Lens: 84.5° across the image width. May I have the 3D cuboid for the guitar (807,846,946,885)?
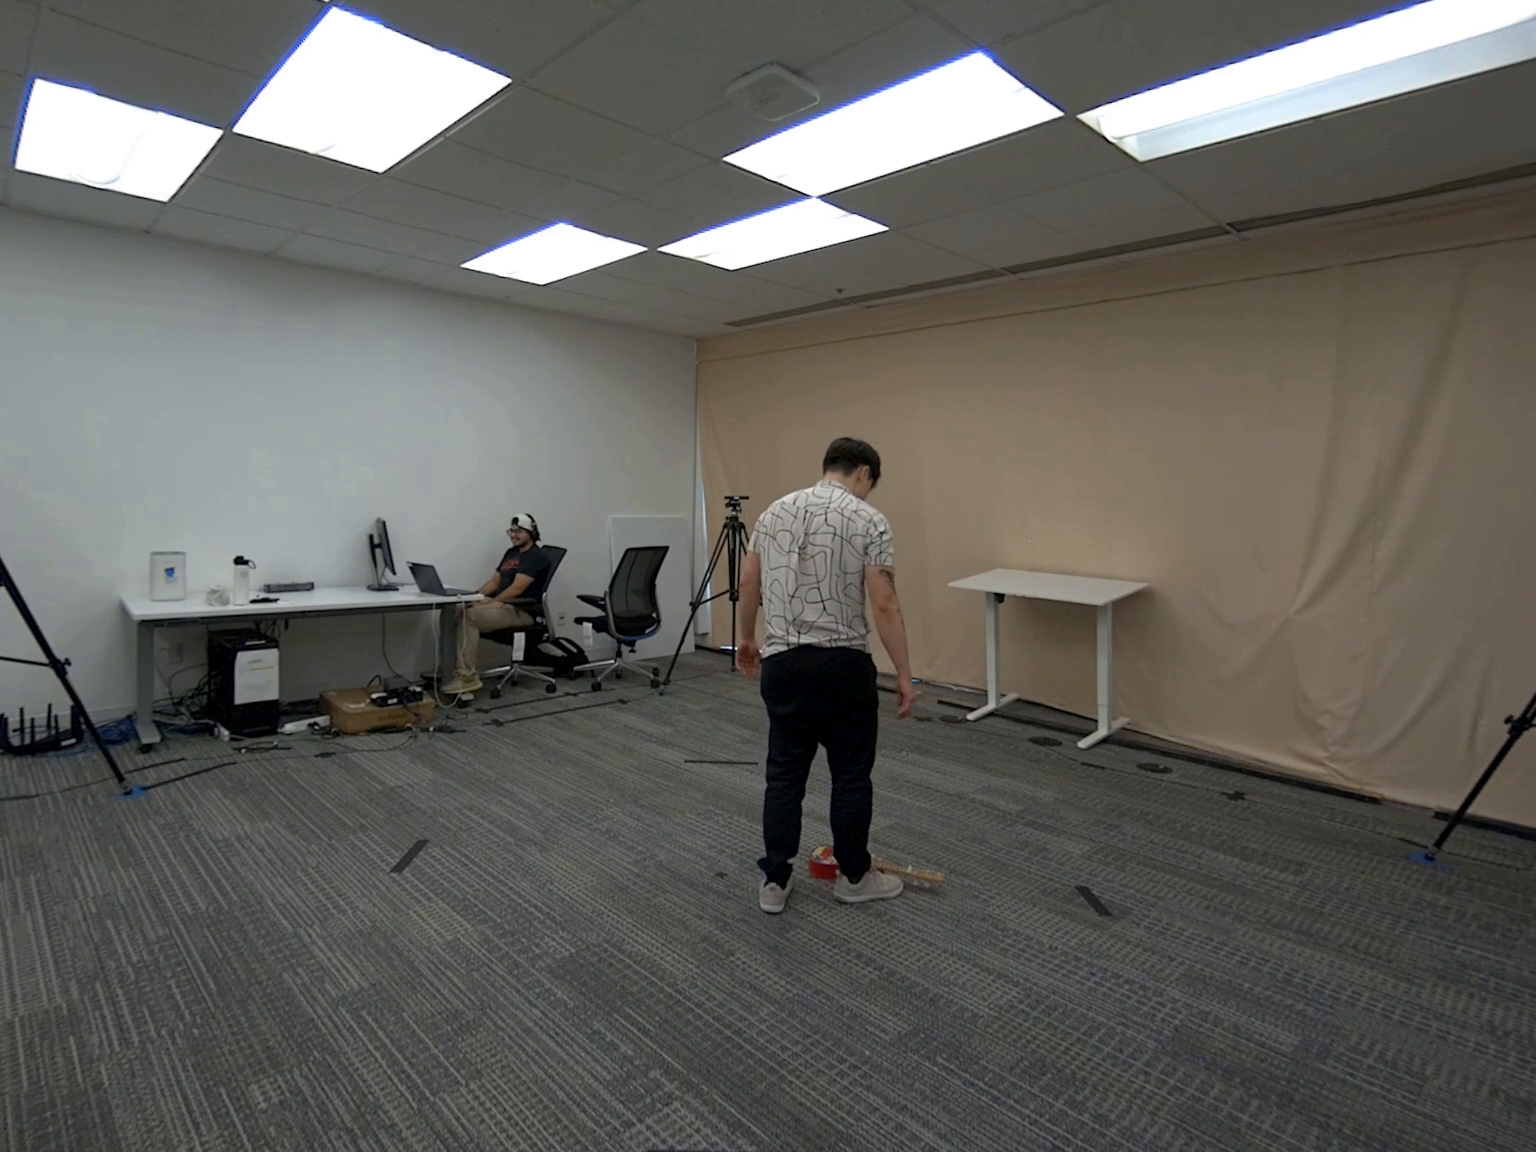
[{"bbox_3d":[0.377,1.084,3.068,0.509,0.070,0.189,5,5,34],"label":"guitar"}]
